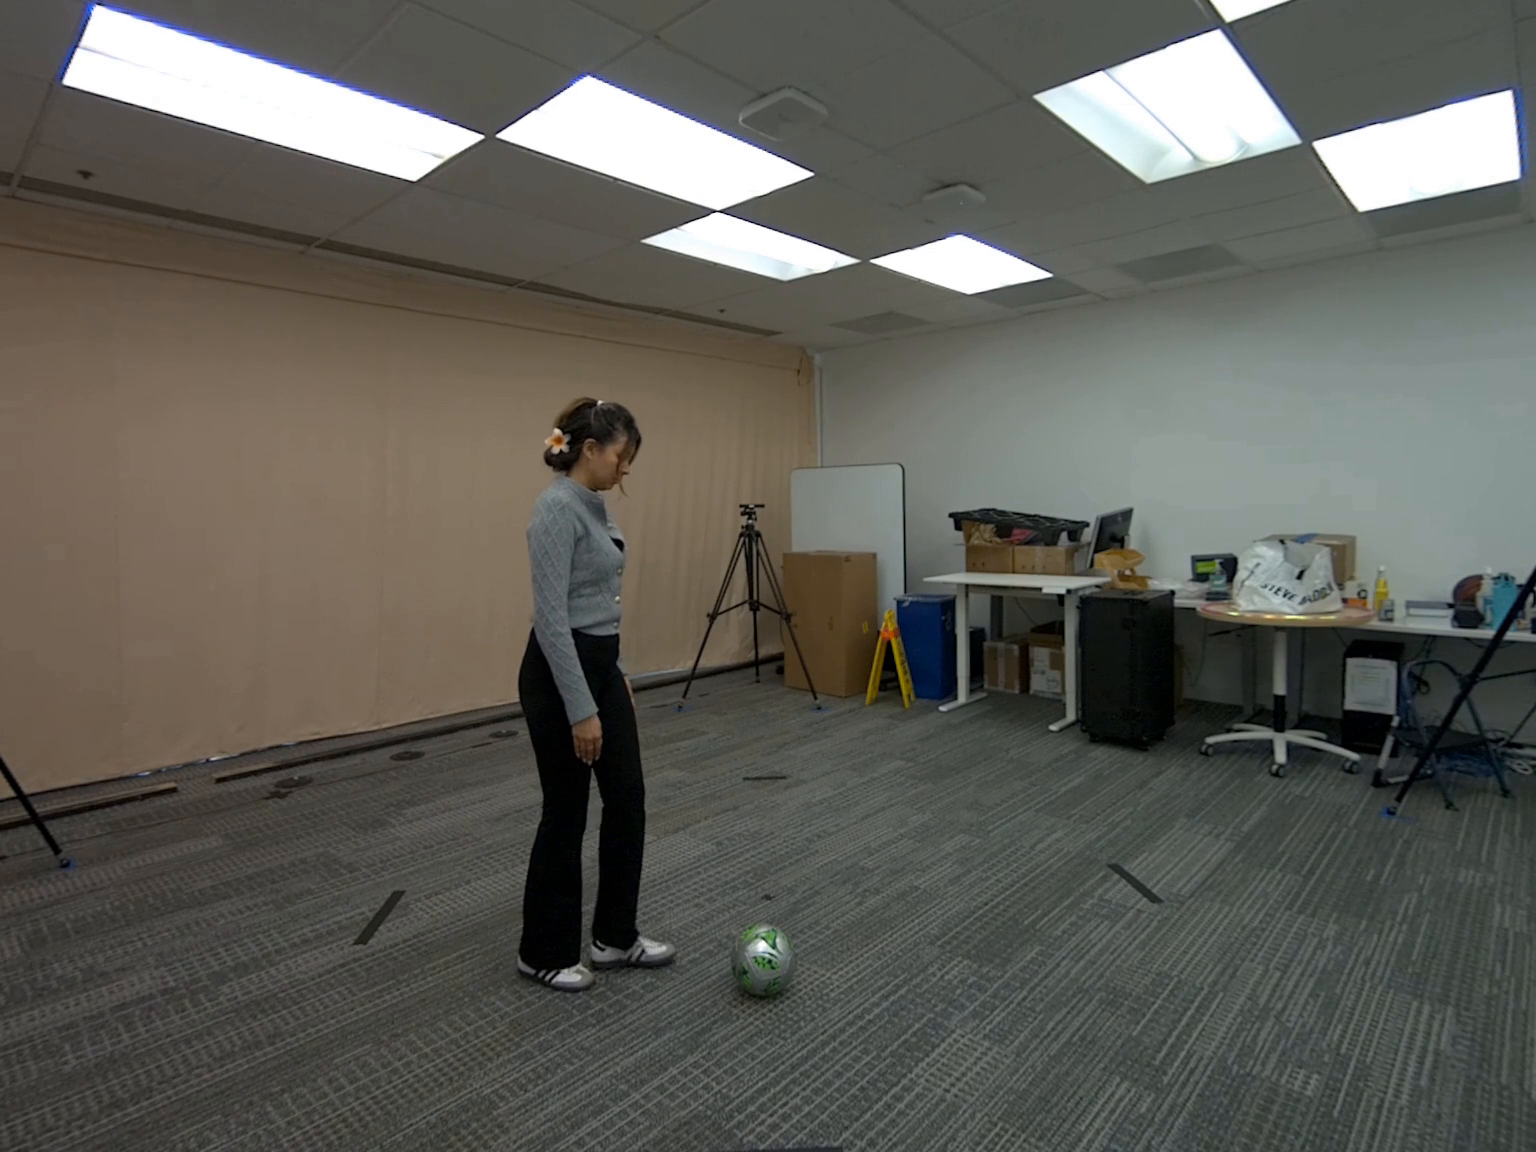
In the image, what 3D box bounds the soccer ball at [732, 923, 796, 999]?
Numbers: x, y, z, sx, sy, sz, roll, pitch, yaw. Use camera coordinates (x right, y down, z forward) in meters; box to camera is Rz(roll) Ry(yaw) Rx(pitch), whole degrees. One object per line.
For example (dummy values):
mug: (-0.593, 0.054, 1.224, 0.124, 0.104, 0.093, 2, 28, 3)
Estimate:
soccer ball: (-0.007, 1.097, 2.395, 0.187, 0.187, 0.188, -1, 4, -2)
